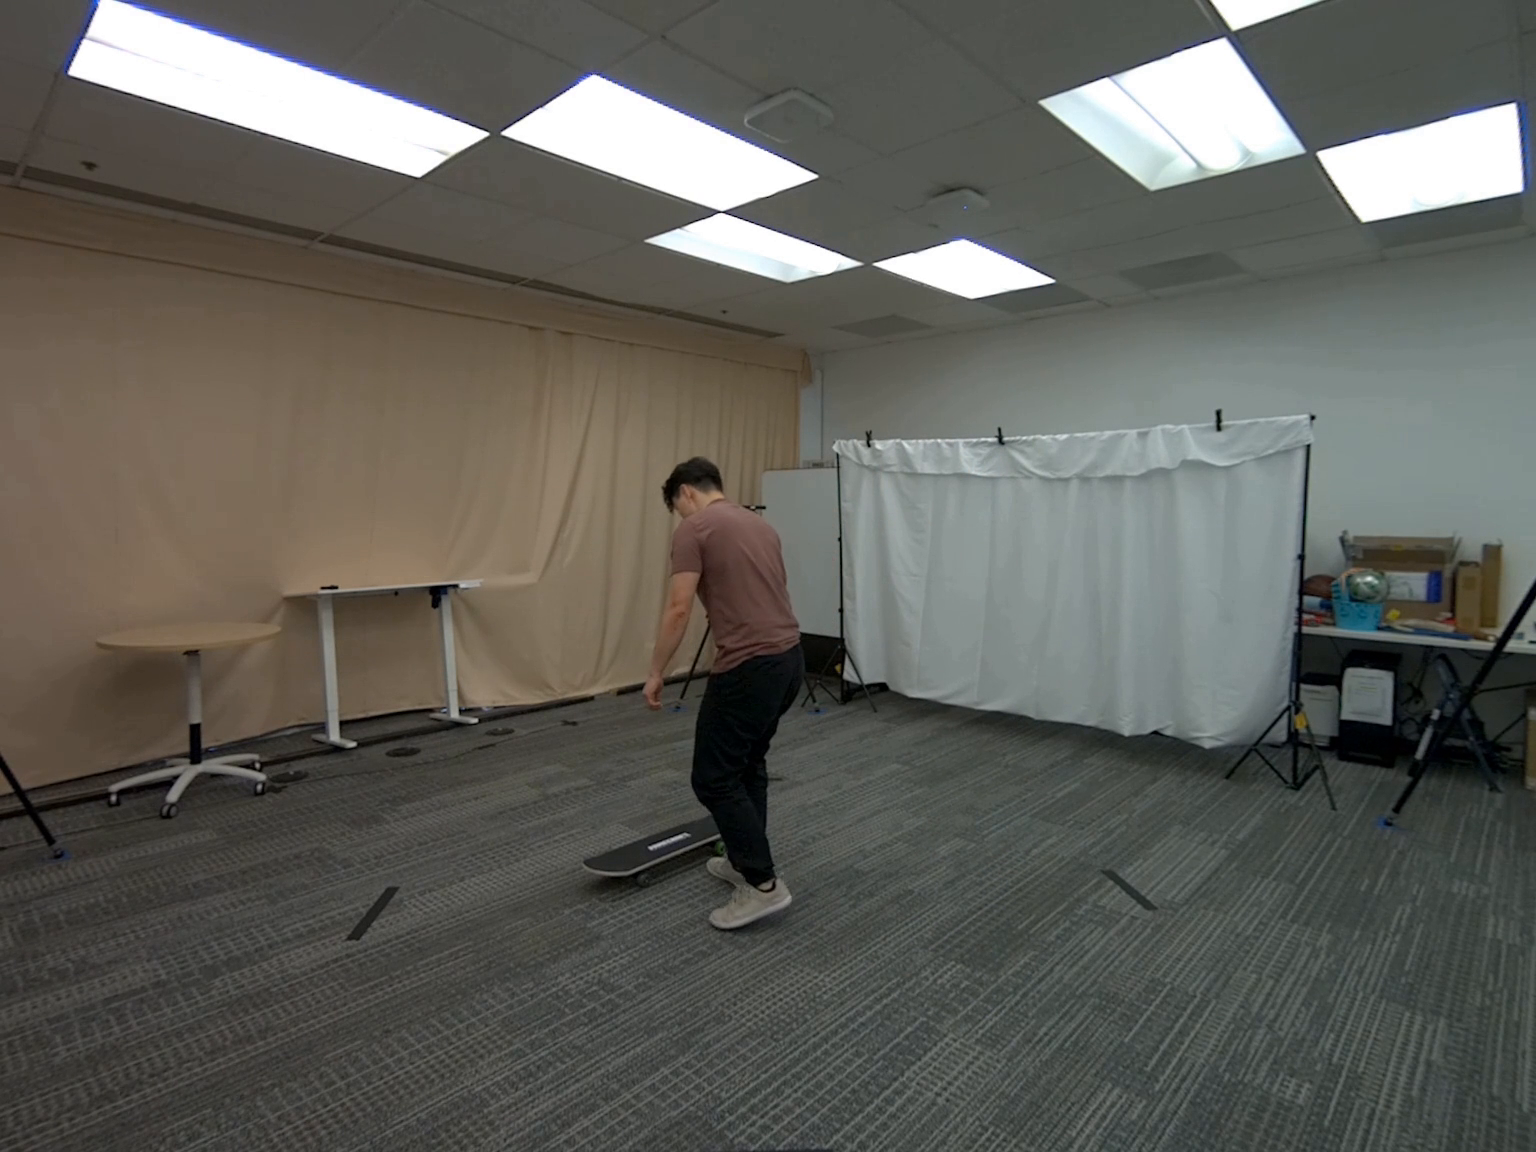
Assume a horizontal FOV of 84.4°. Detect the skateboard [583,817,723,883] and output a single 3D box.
[{"bbox_3d":[-0.389,1.068,3.282,0.200,0.110,0.761,1,5,44],"label":"skateboard"}]
